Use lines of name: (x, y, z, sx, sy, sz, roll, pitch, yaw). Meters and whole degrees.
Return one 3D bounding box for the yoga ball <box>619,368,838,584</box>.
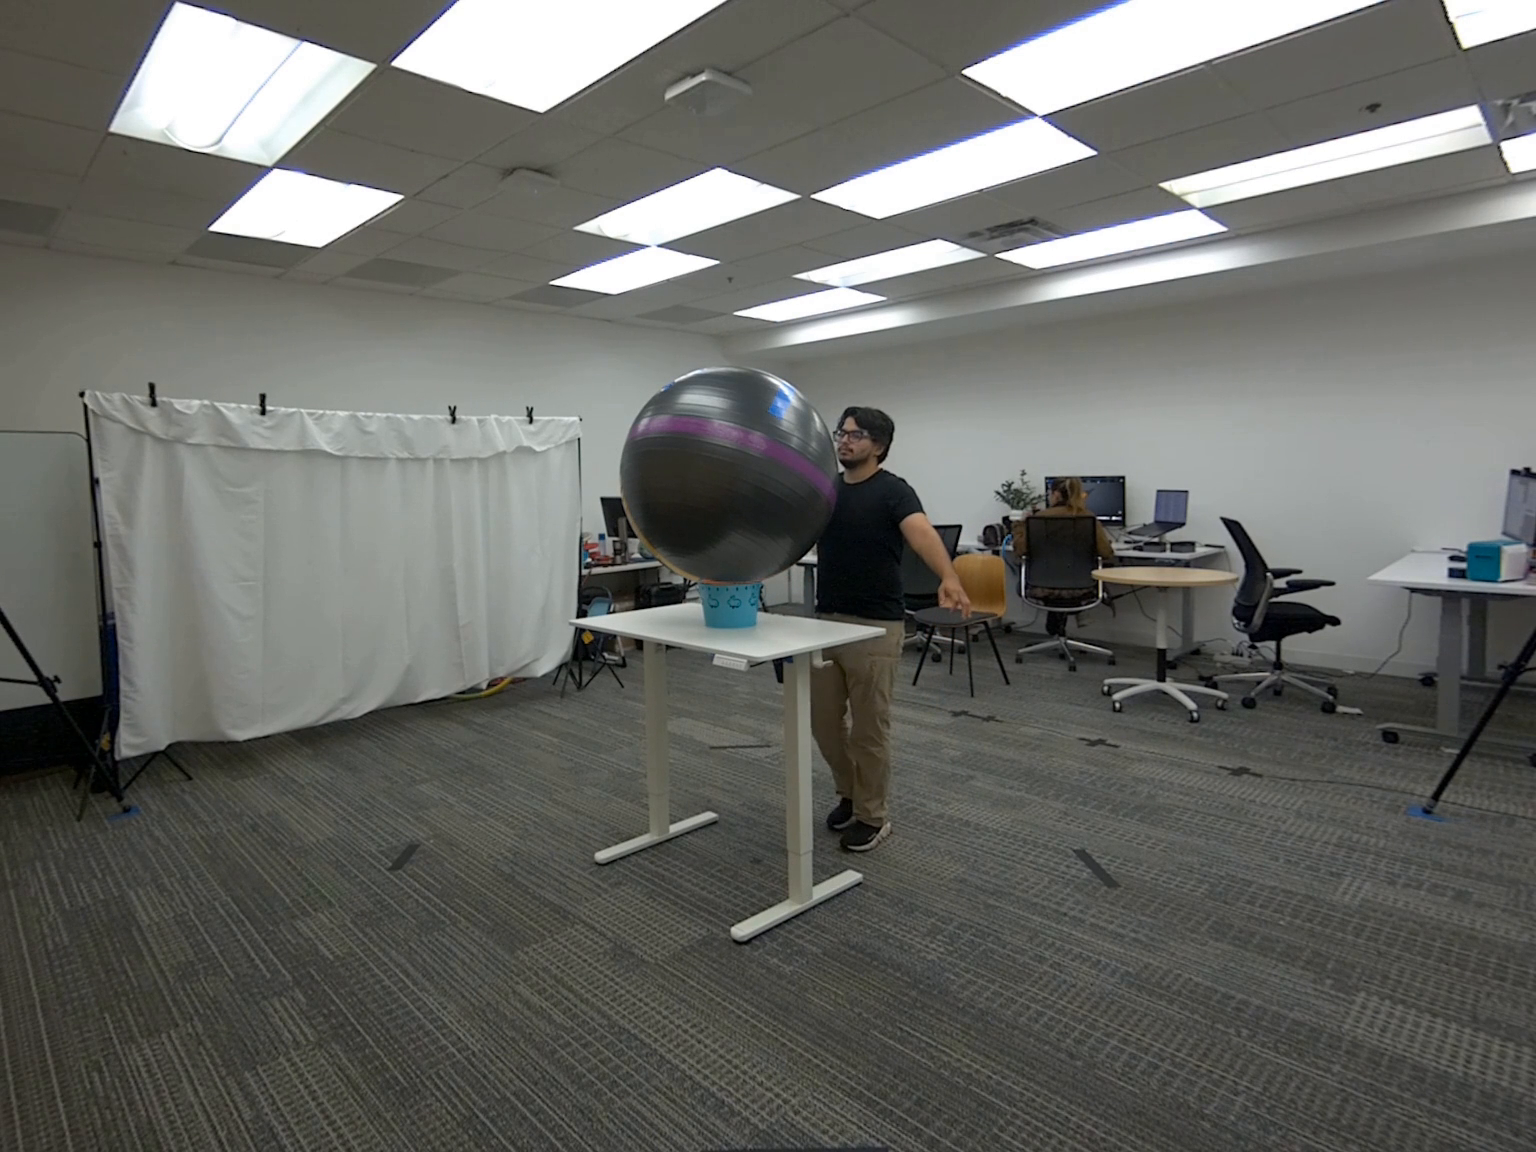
yoga ball: (-0.147, -0.340, 2.972, 0.757, 0.755, 0.762, -1, 5, -2)
